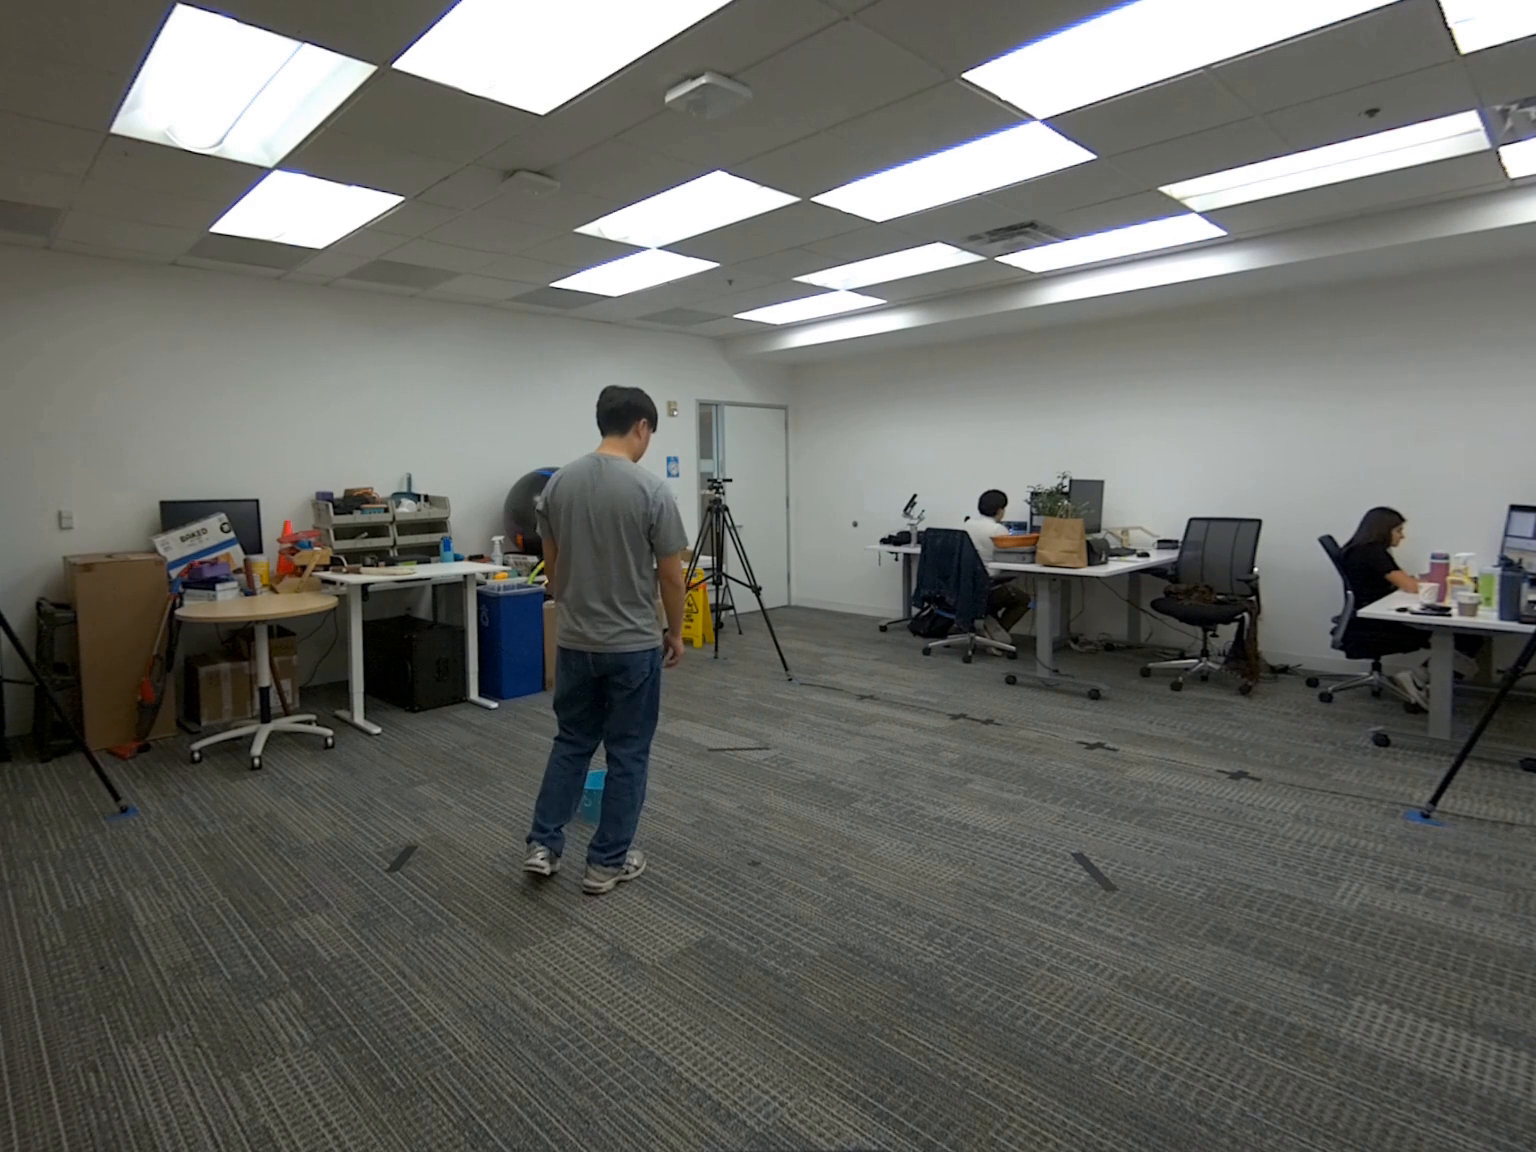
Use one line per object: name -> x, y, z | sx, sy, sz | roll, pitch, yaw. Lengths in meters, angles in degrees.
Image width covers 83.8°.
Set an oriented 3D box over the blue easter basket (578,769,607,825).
blue easter basket -> -0.692, 0.926, 3.592 | 0.243, 0.155, 0.245 | 1, 5, -2
